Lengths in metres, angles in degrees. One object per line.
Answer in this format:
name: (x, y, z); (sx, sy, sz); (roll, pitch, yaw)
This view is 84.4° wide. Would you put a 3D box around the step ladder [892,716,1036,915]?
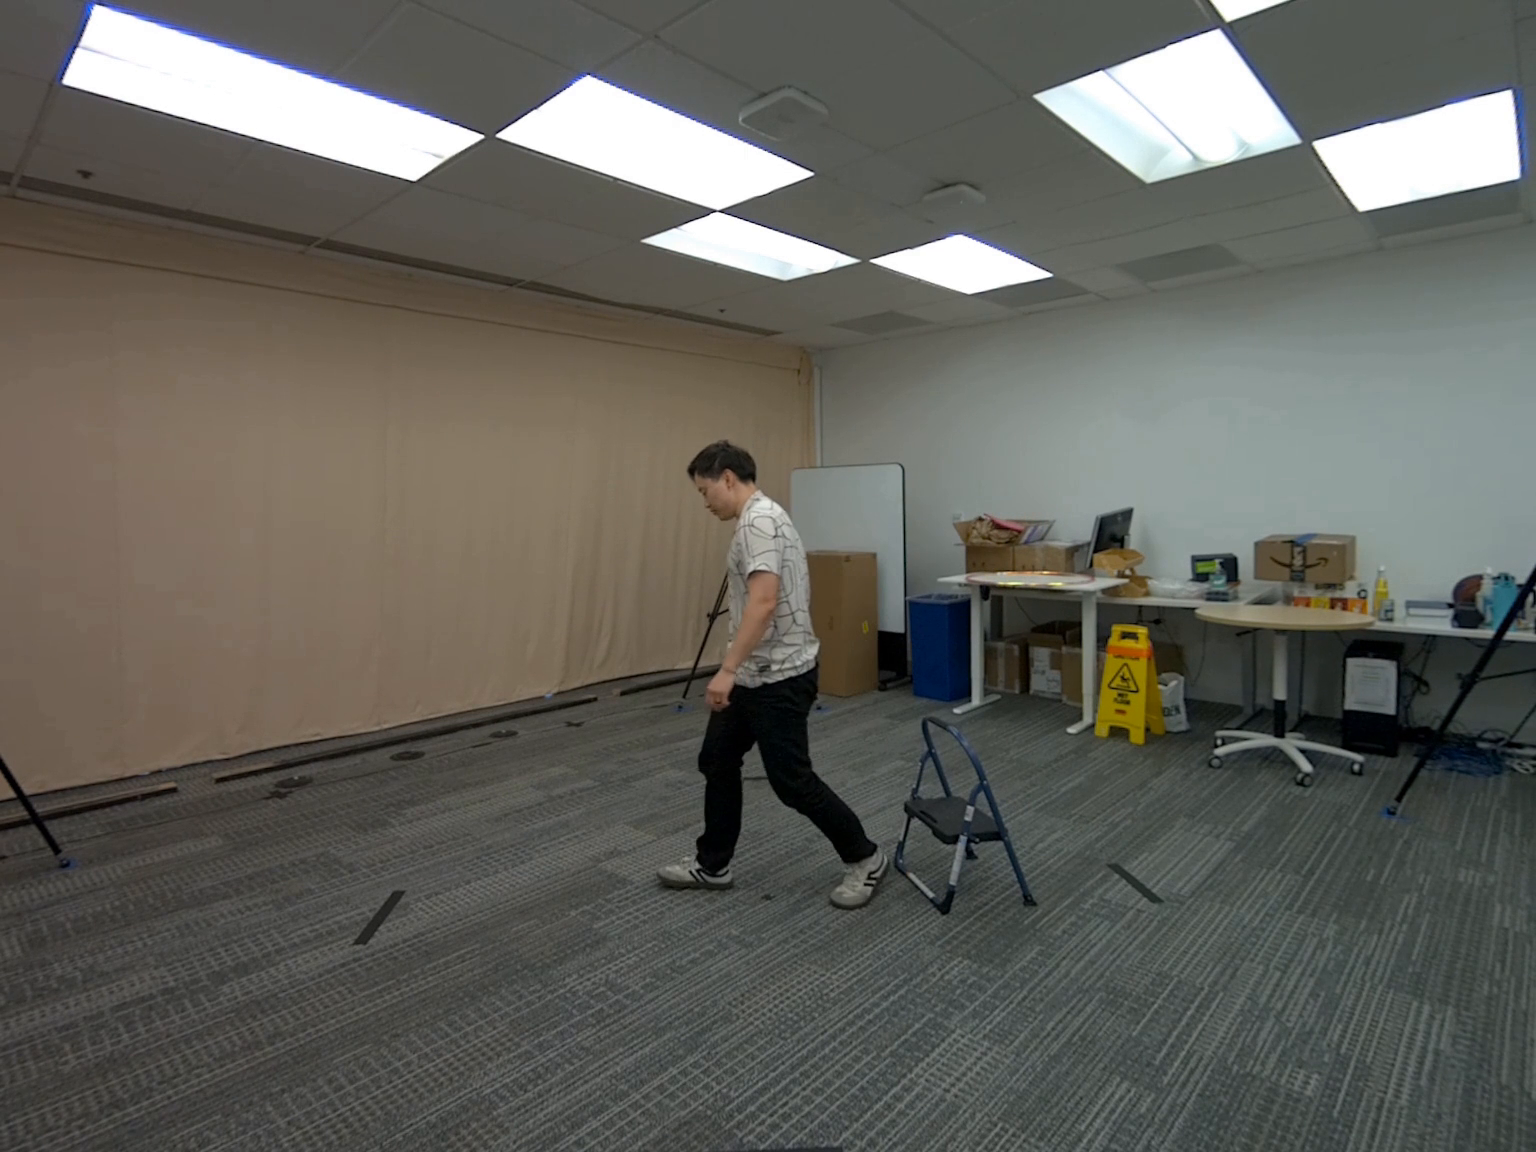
step ladder: (0.700, 0.820, 3.048); (0.344, 0.605, 0.438); (-2, 3, -15)
